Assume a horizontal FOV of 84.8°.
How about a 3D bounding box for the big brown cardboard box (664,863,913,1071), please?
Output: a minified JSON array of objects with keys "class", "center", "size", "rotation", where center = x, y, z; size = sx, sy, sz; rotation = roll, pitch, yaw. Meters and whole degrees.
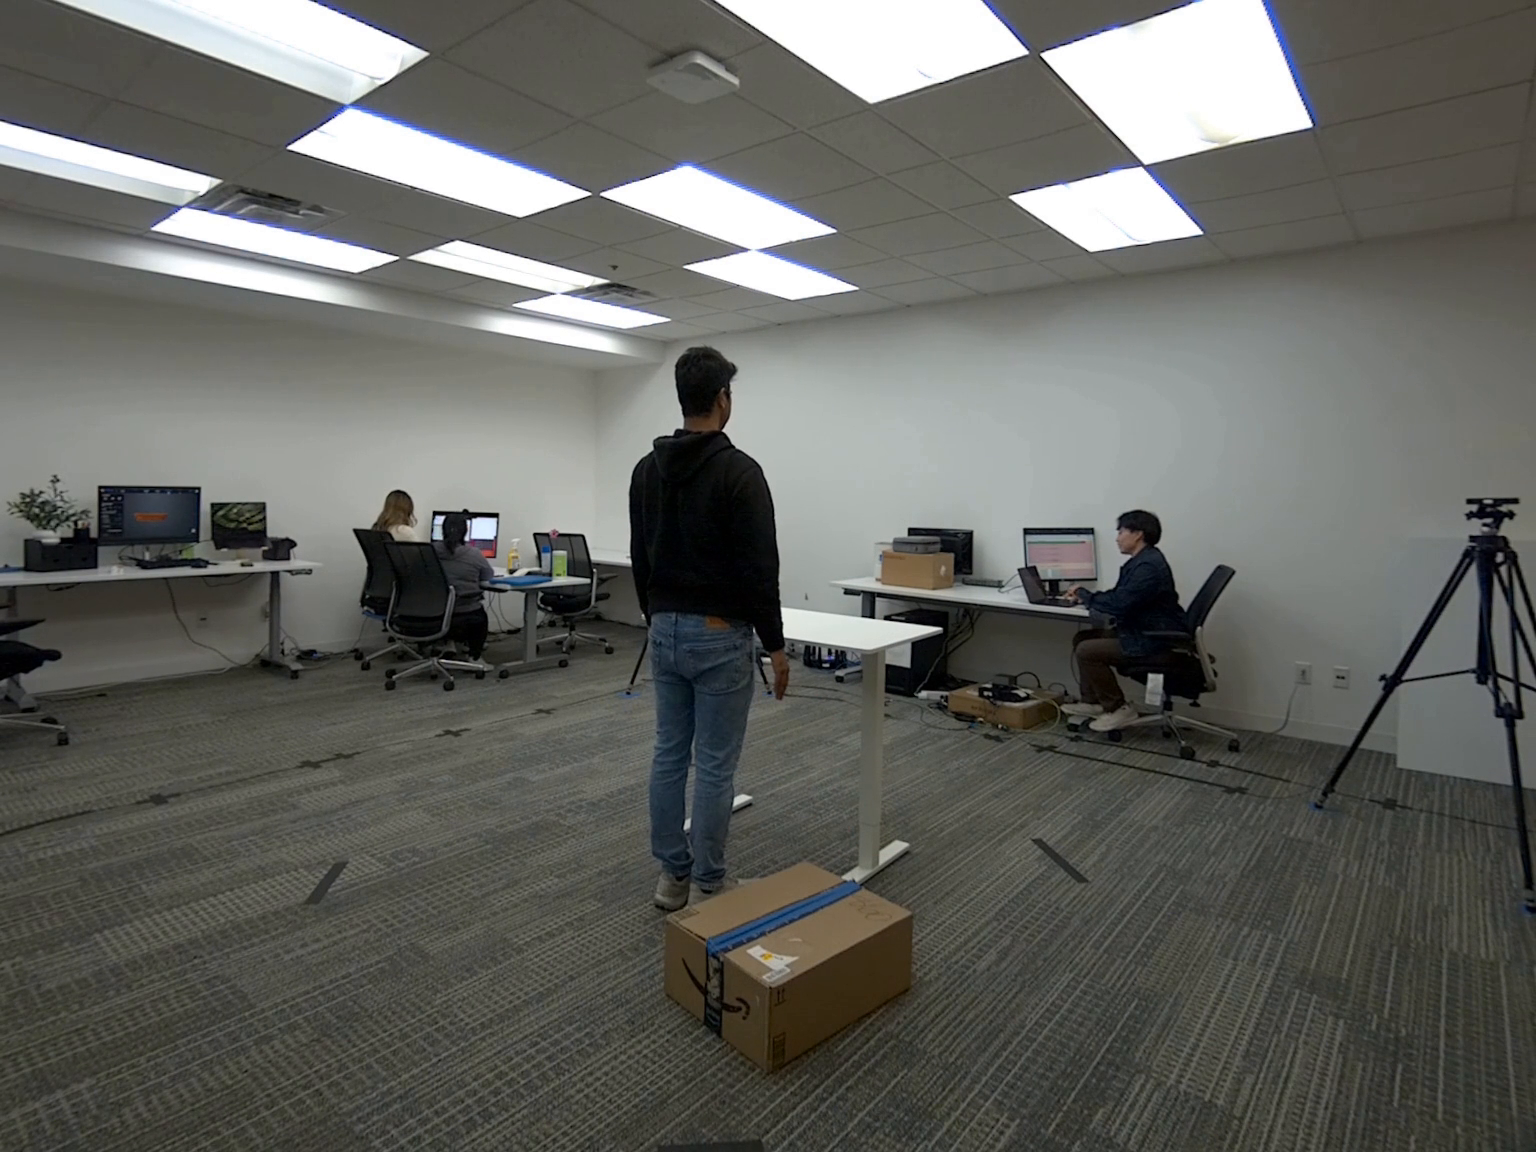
[{"class":"big brown cardboard box","center":[0.053,1.038,2.349],"size":[0.571,0.232,0.432],"rotation":[-3,7,-43]}]
